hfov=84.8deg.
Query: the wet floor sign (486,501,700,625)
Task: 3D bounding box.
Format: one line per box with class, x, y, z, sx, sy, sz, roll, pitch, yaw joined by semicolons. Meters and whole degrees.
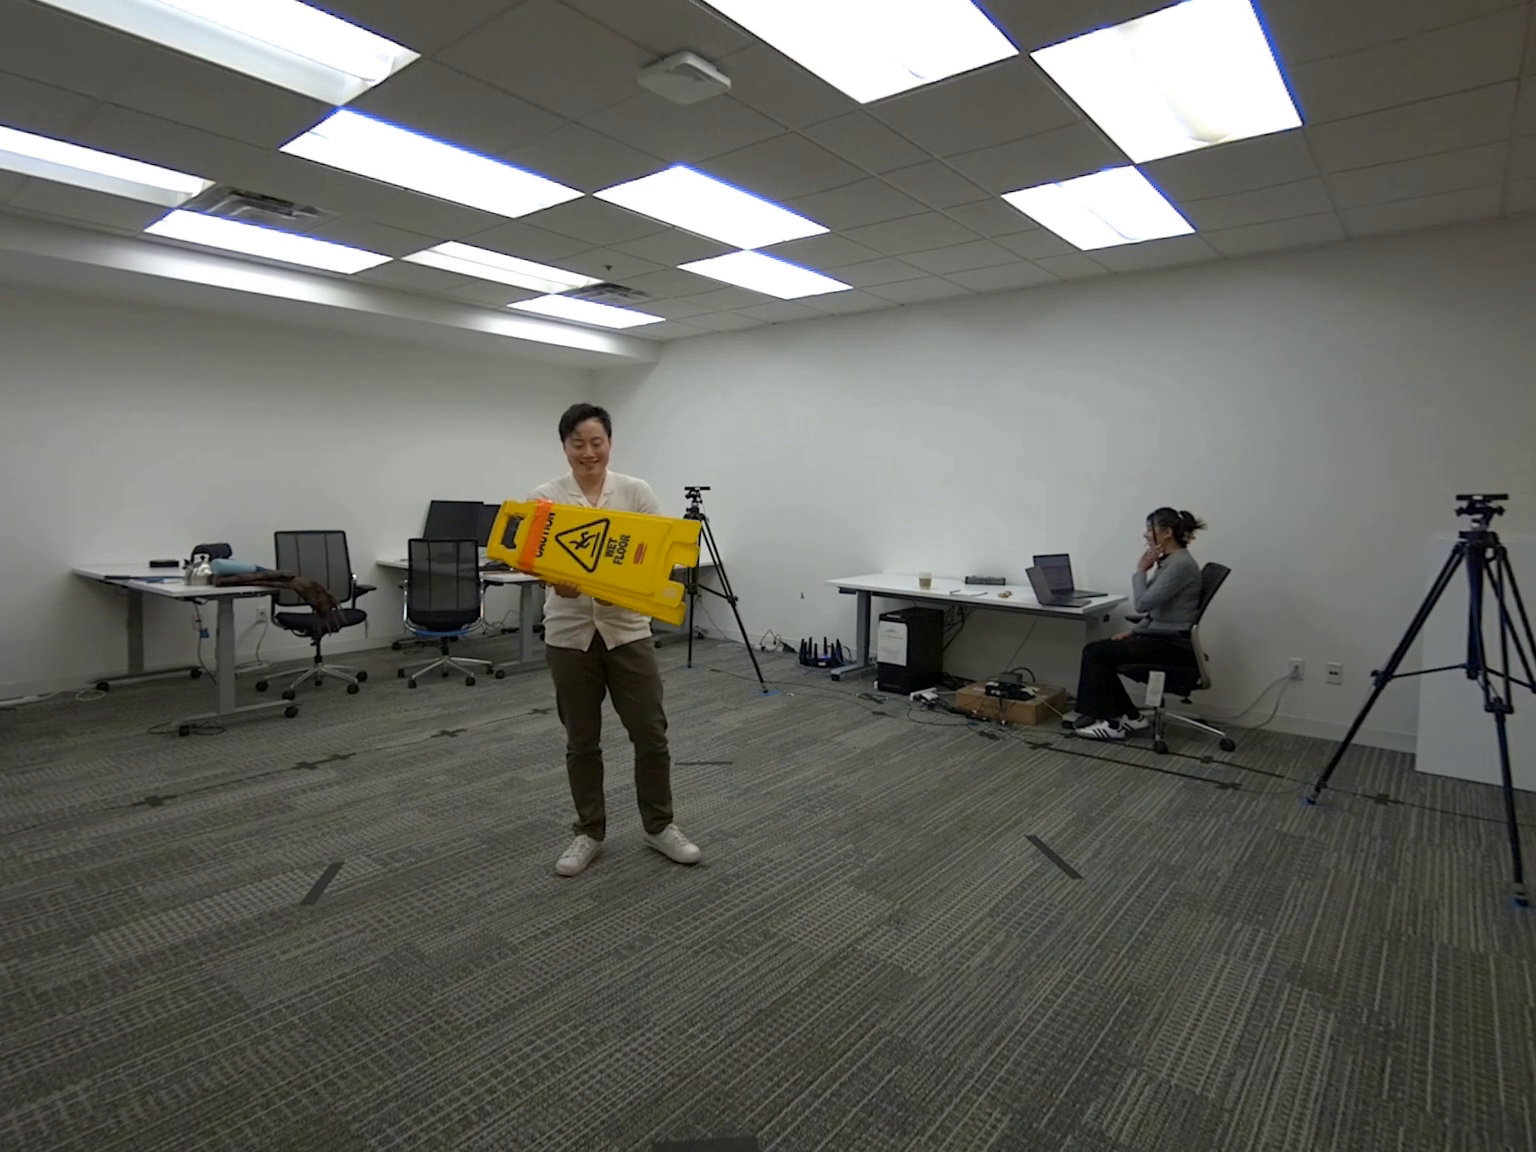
wet floor sign;-0.563;-0.074;2.685;0.648;0.285;0.285;15;-17;2
